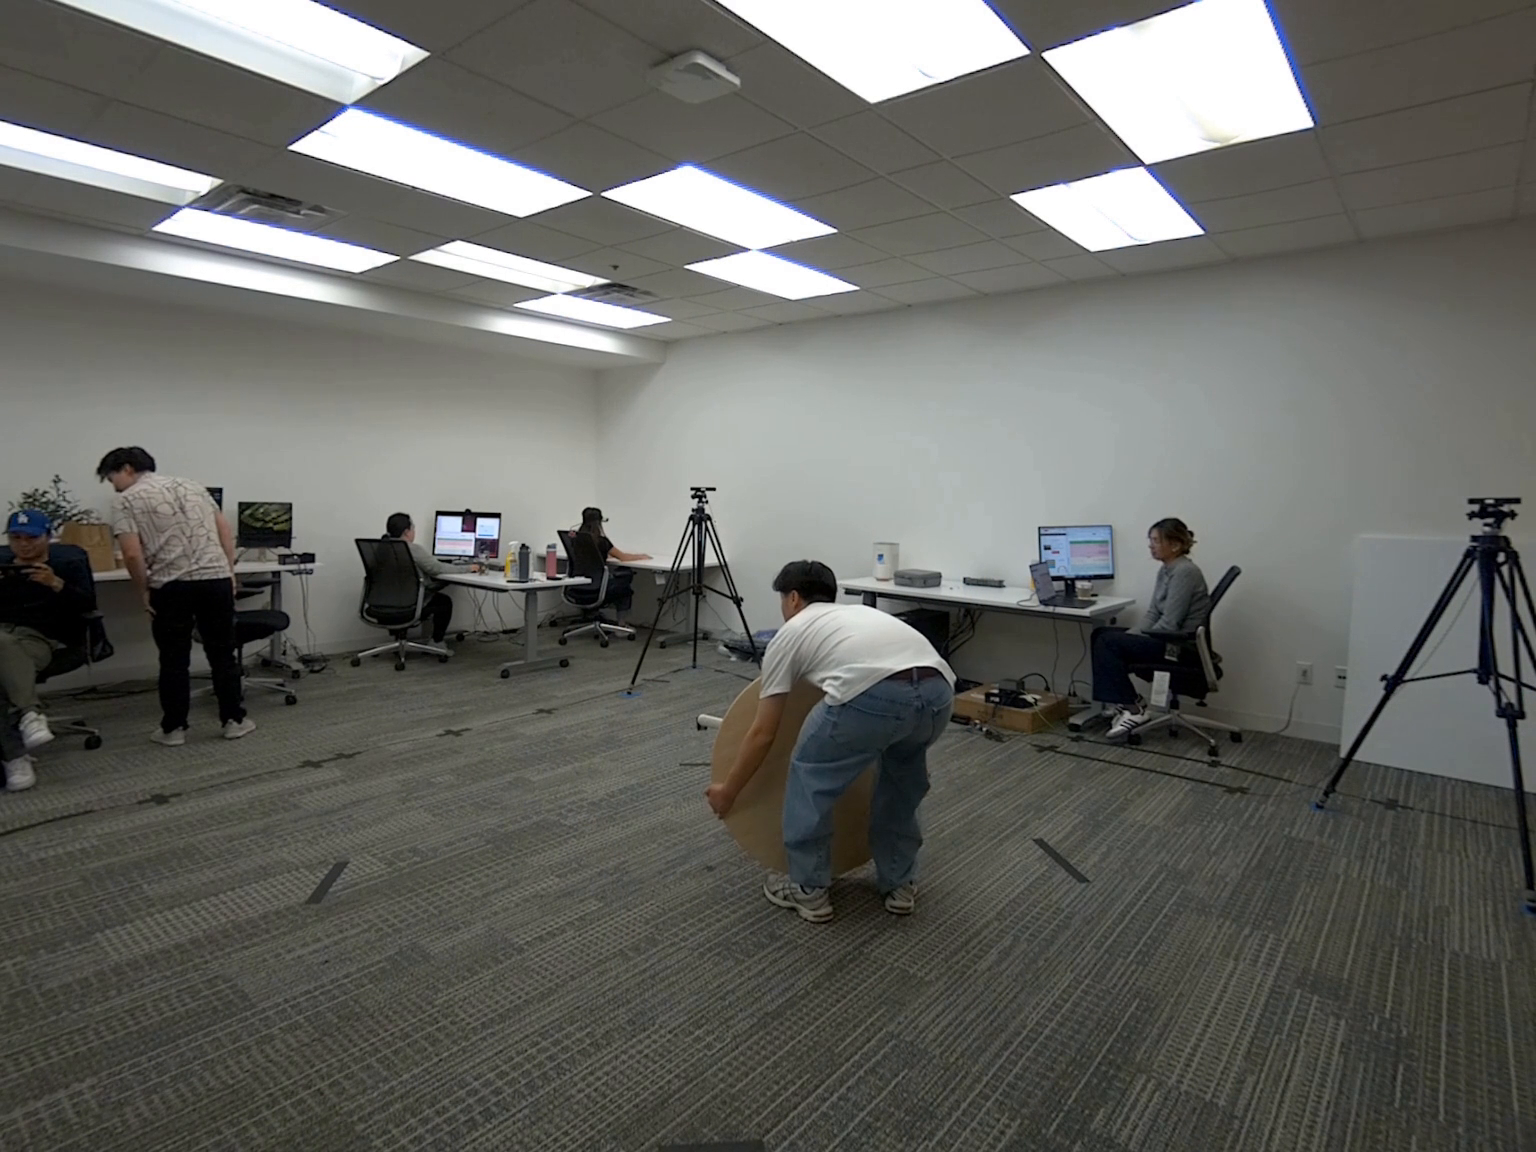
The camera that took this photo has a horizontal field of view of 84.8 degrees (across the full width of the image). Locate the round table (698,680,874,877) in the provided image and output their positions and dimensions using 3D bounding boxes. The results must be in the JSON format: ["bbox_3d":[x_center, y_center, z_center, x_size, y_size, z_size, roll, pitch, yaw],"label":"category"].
[{"bbox_3d":[0.079,0.679,3.441,0.776,0.788,0.793,0,-3,-11],"label":"round table"}]
